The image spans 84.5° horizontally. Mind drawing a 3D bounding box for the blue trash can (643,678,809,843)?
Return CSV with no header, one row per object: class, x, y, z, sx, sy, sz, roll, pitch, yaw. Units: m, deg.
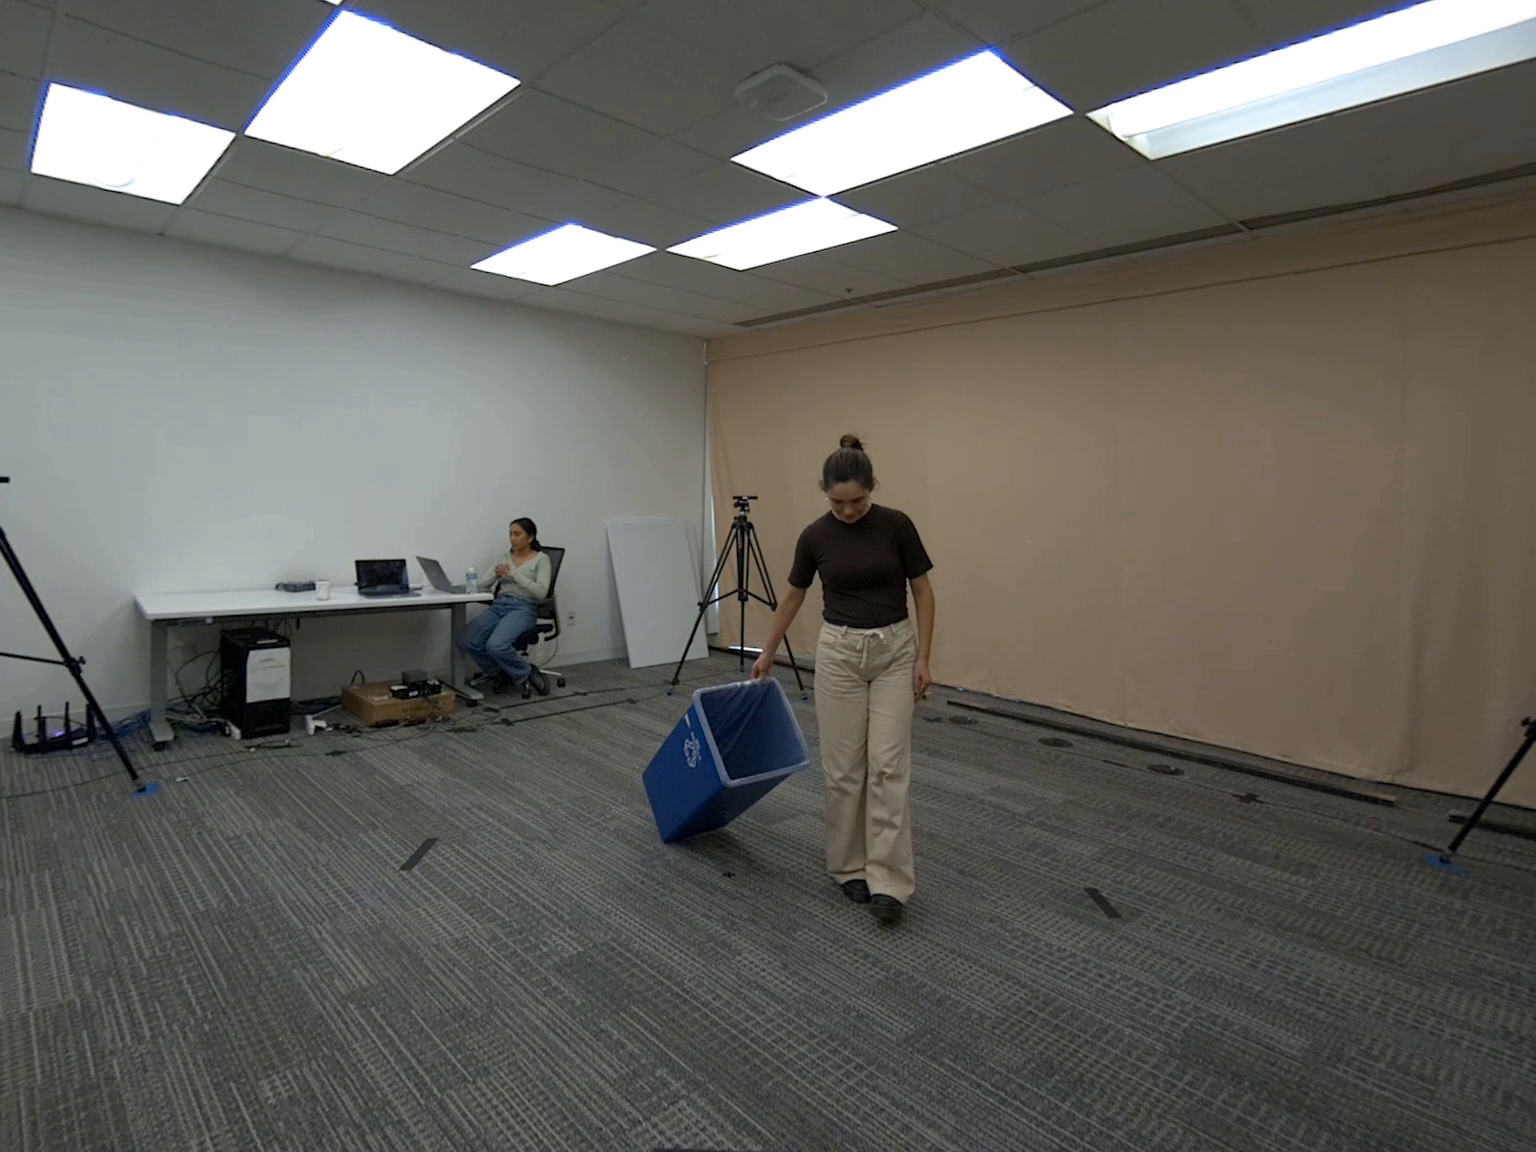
blue trash can,-0.203,0.746,3.265,0.371,0.383,0.709,-6,-32,-33
